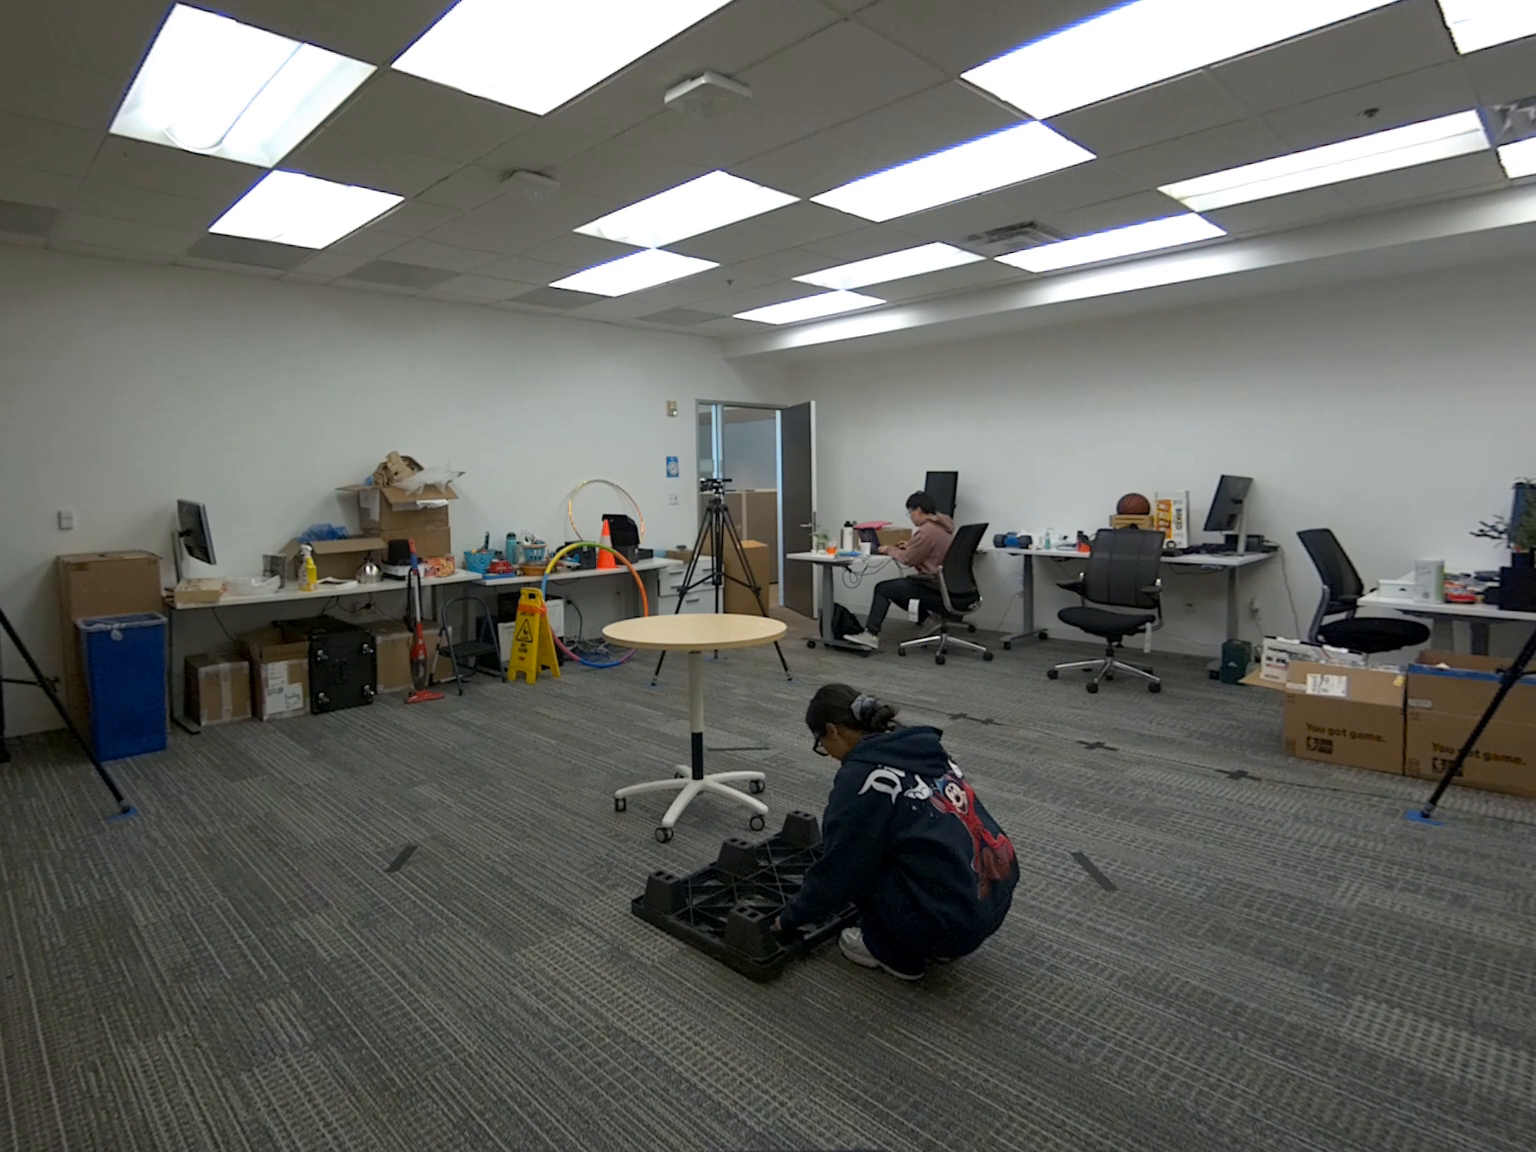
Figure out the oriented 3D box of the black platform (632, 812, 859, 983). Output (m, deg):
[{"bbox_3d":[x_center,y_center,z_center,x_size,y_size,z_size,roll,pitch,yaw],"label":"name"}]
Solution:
[{"bbox_3d":[0.038,1.001,2.837,0.623,0.143,0.784,3,8,44],"label":"black platform"}]
